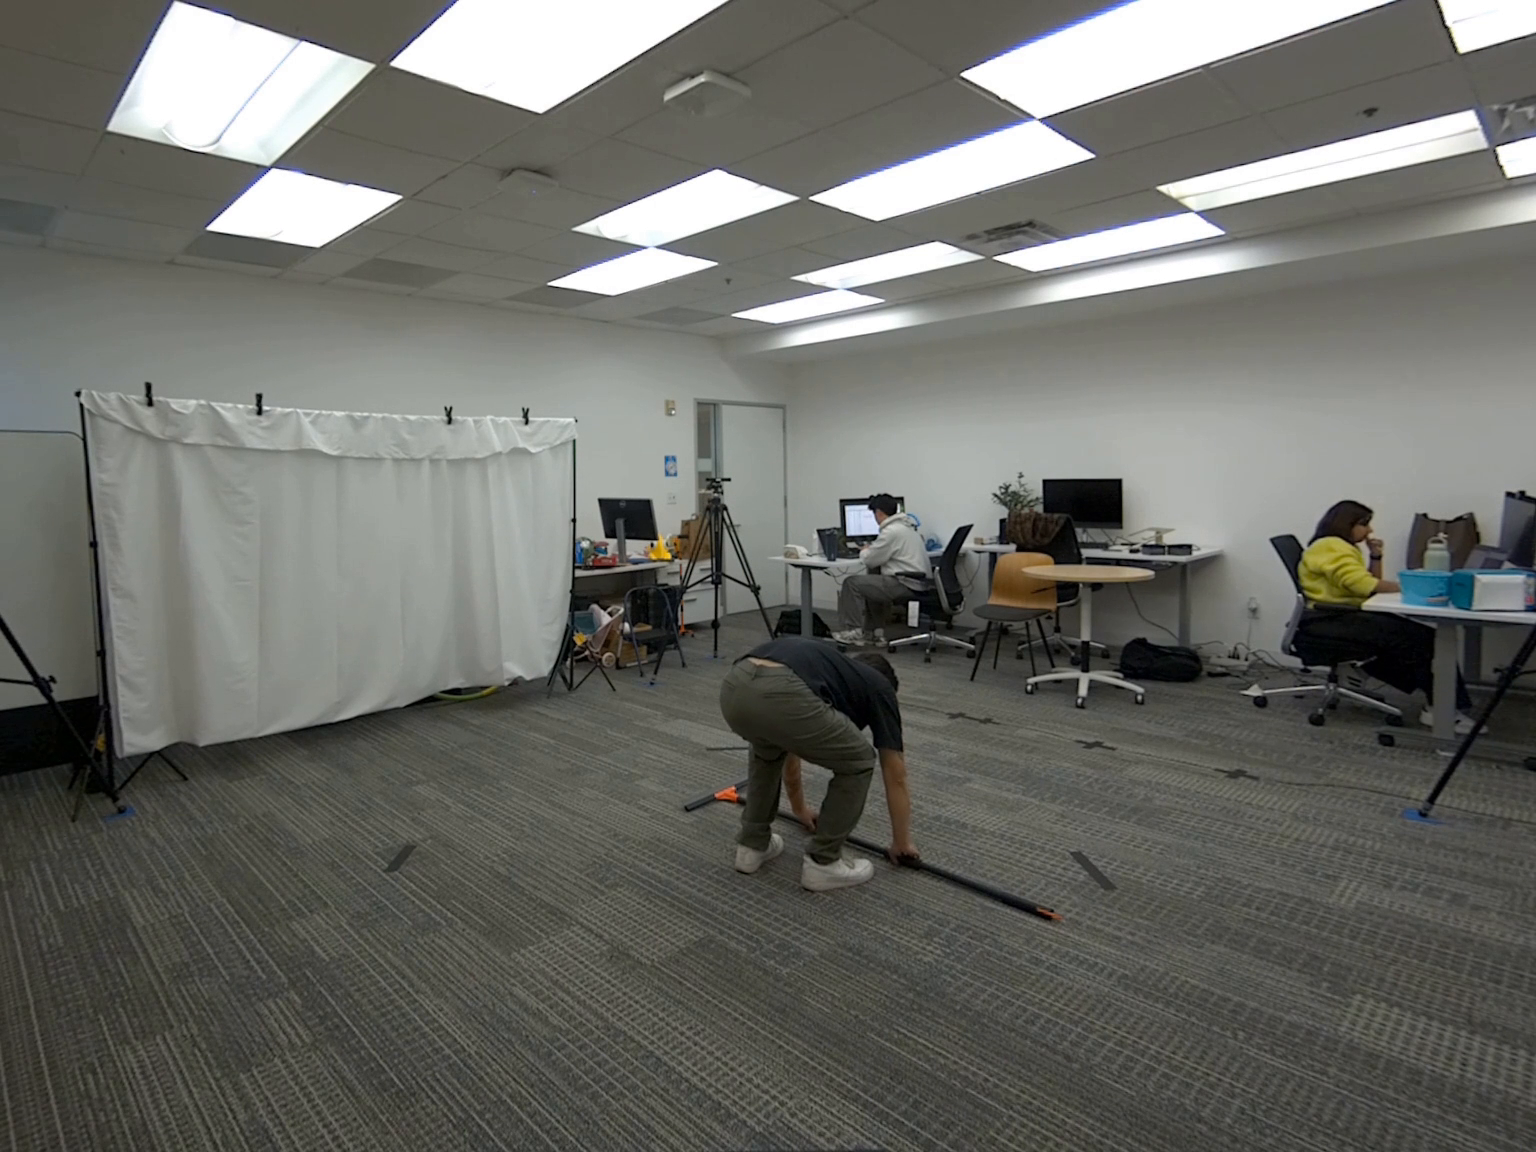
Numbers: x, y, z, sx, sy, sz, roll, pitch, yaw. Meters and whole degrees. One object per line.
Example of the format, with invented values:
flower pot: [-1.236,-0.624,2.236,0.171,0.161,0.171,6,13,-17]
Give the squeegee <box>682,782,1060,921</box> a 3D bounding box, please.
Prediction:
squeegee: [0.341,0.985,3.210,1.586,0.052,0.427,6,12,45]
